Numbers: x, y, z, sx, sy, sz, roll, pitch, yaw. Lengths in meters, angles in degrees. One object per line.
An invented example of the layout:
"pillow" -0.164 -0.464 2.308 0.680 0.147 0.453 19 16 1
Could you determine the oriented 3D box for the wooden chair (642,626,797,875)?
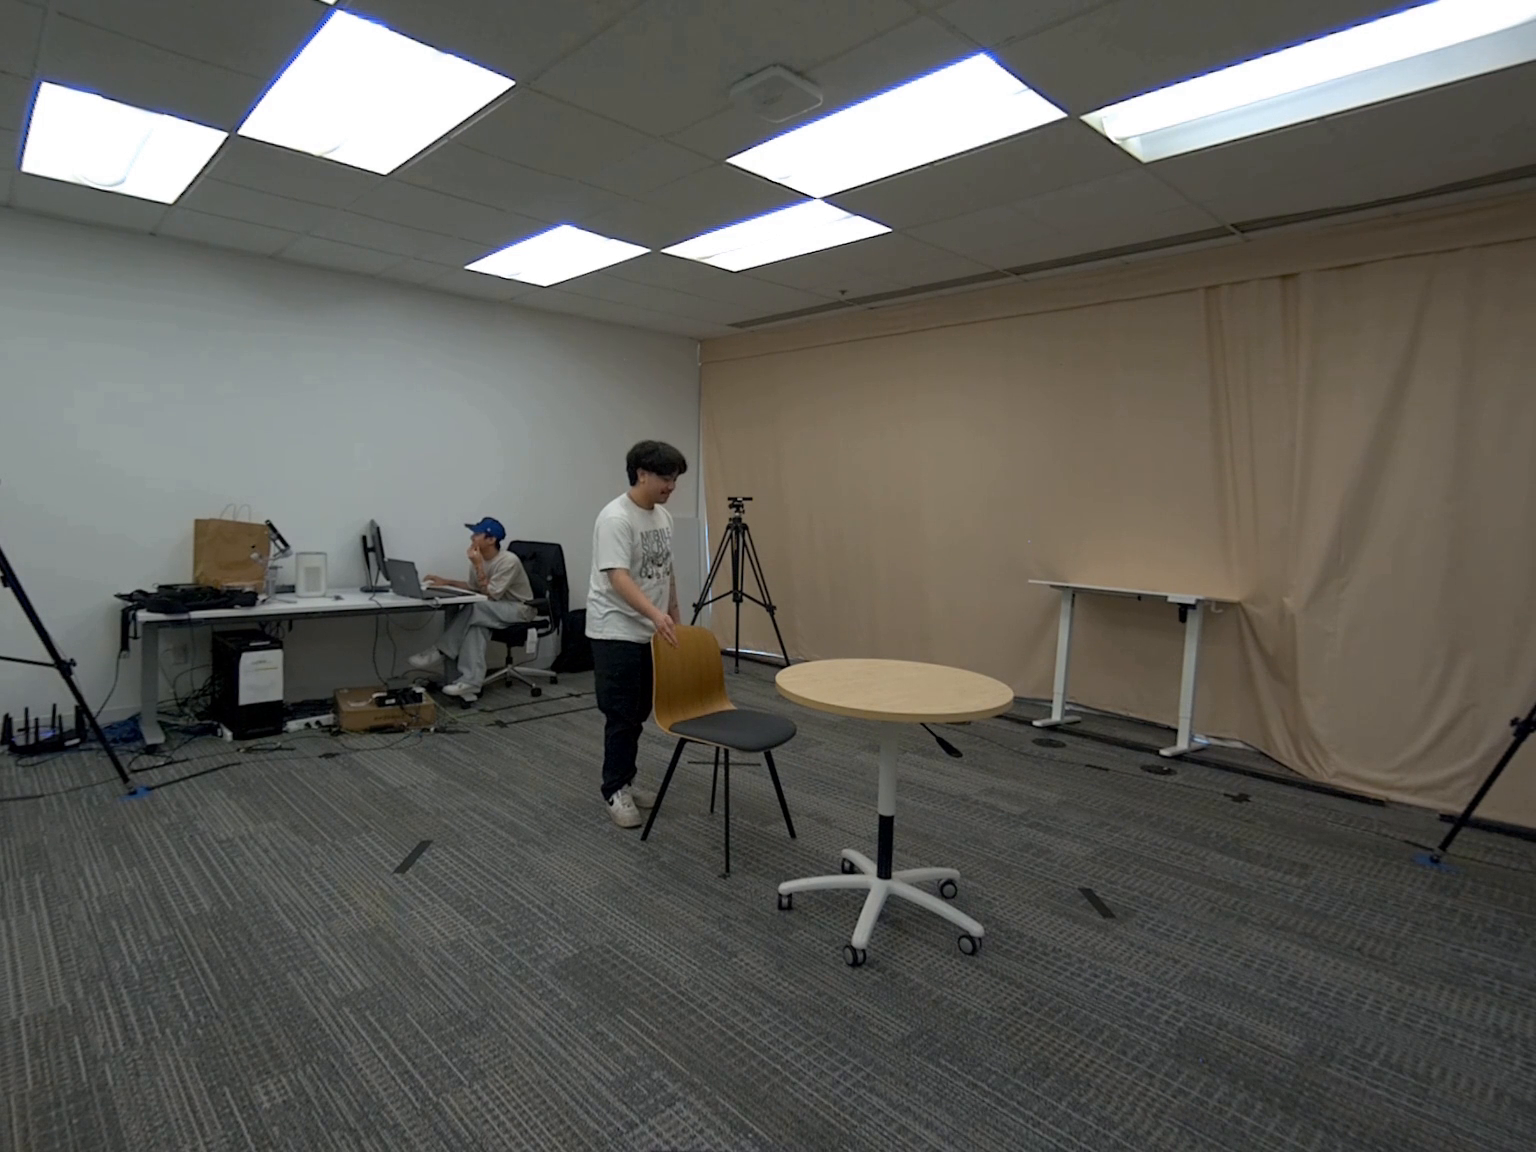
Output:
"wooden chair" -0.188 0.652 3.403 0.535 0.877 0.467 -2 0 38
